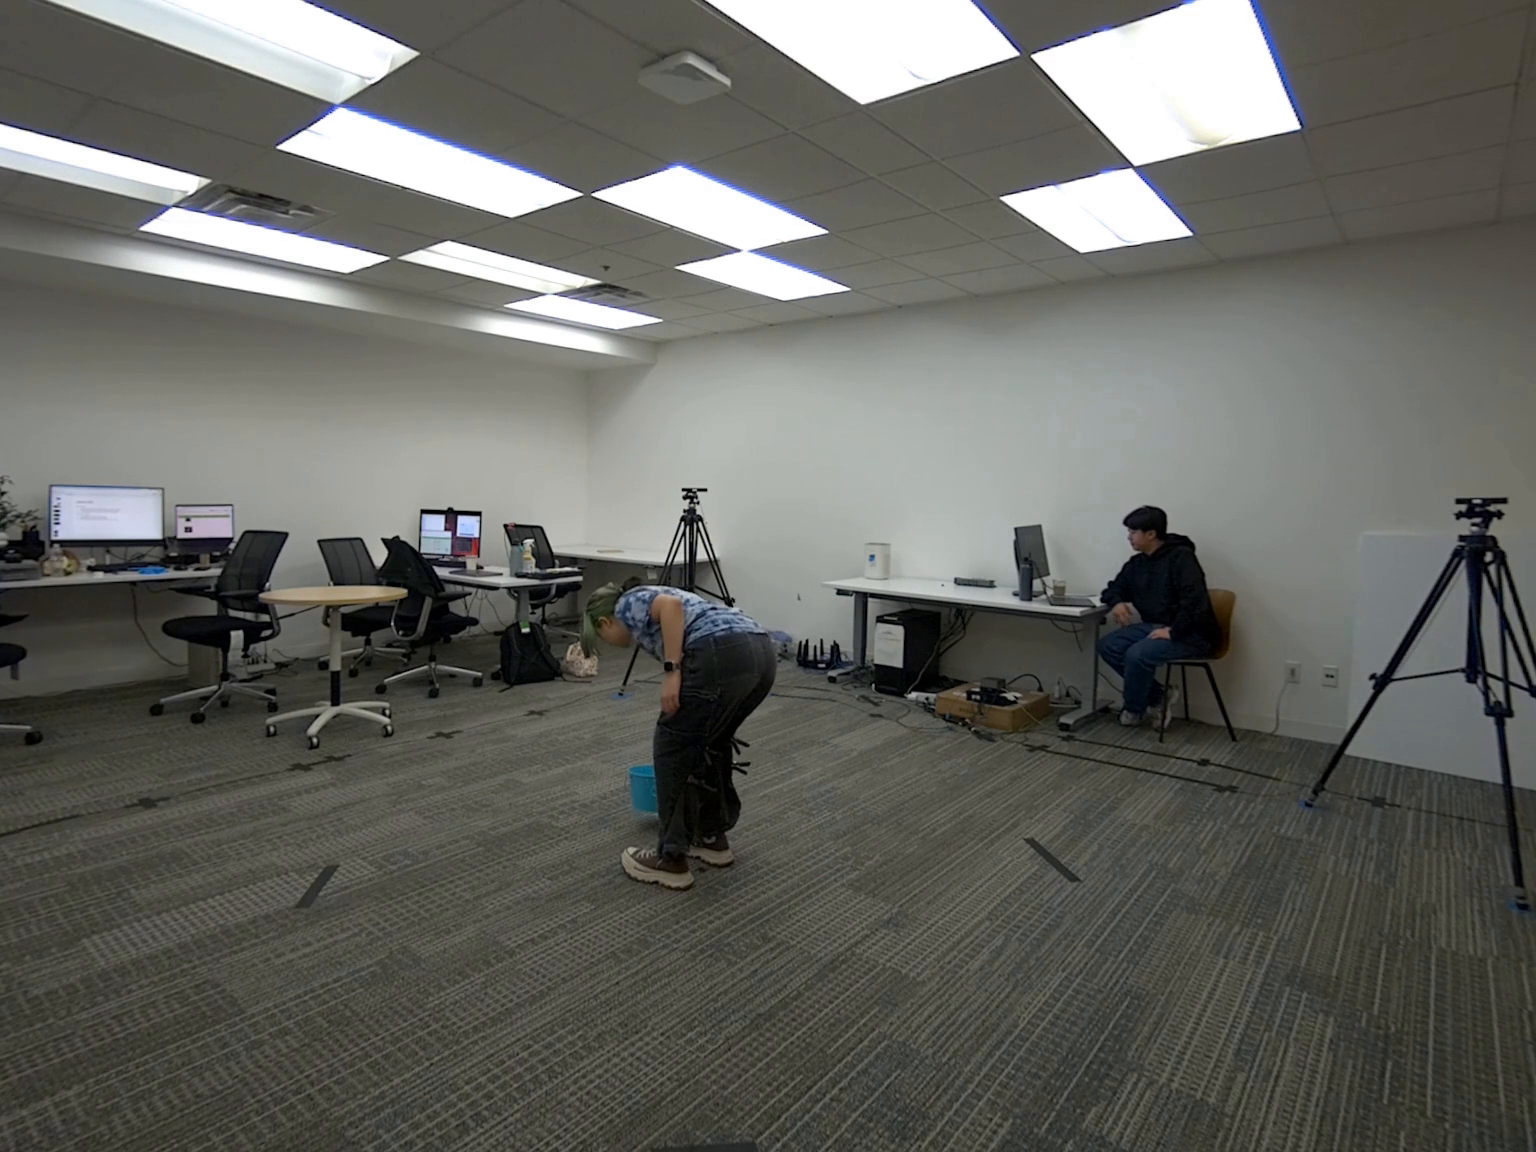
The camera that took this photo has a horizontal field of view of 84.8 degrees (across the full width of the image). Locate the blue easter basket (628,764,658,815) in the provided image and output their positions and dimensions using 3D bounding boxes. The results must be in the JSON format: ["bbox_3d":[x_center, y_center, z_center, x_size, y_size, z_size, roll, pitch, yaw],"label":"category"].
[{"bbox_3d":[-0.486,0.866,3.536,0.243,0.156,0.244,2,1,-2],"label":"blue easter basket"}]
